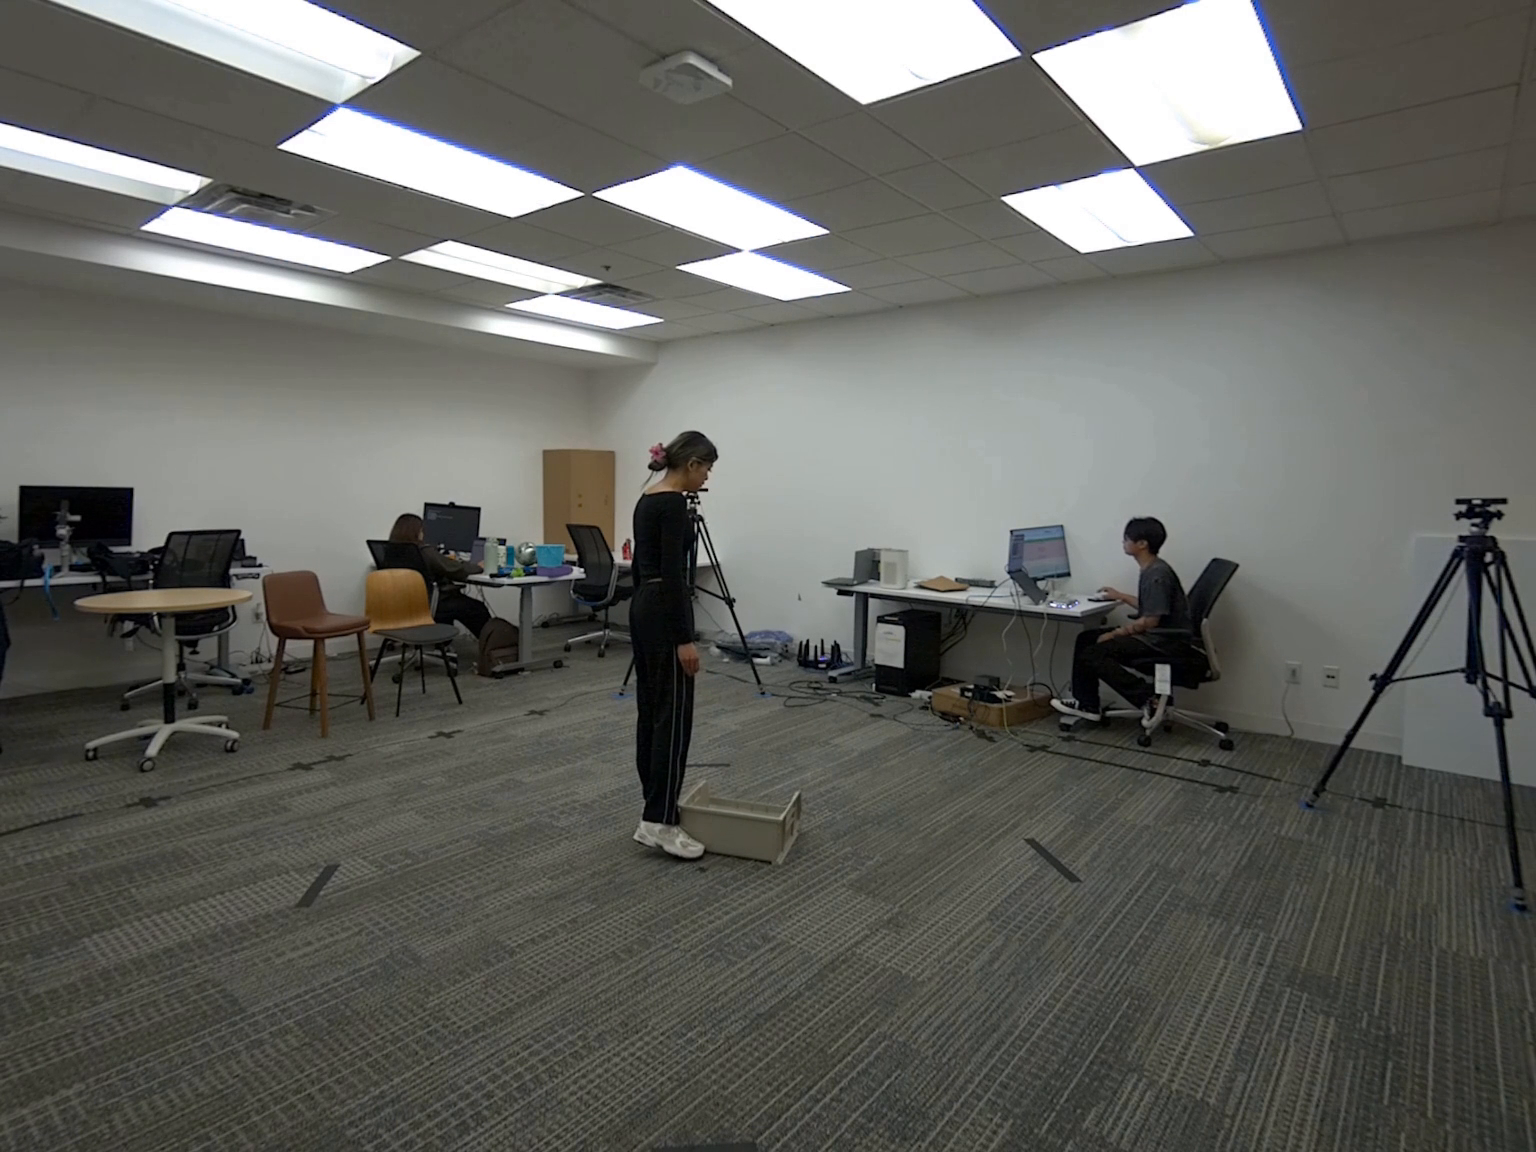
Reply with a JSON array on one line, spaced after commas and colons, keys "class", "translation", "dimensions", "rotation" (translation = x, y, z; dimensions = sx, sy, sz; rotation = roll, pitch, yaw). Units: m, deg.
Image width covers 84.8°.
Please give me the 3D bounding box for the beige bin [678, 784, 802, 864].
[{"class": "beige bin", "translation": [-0.113, 0.958, 3.377], "dimensions": [0.430, 0.188, 0.372], "rotation": [2, 6, 16]}]
